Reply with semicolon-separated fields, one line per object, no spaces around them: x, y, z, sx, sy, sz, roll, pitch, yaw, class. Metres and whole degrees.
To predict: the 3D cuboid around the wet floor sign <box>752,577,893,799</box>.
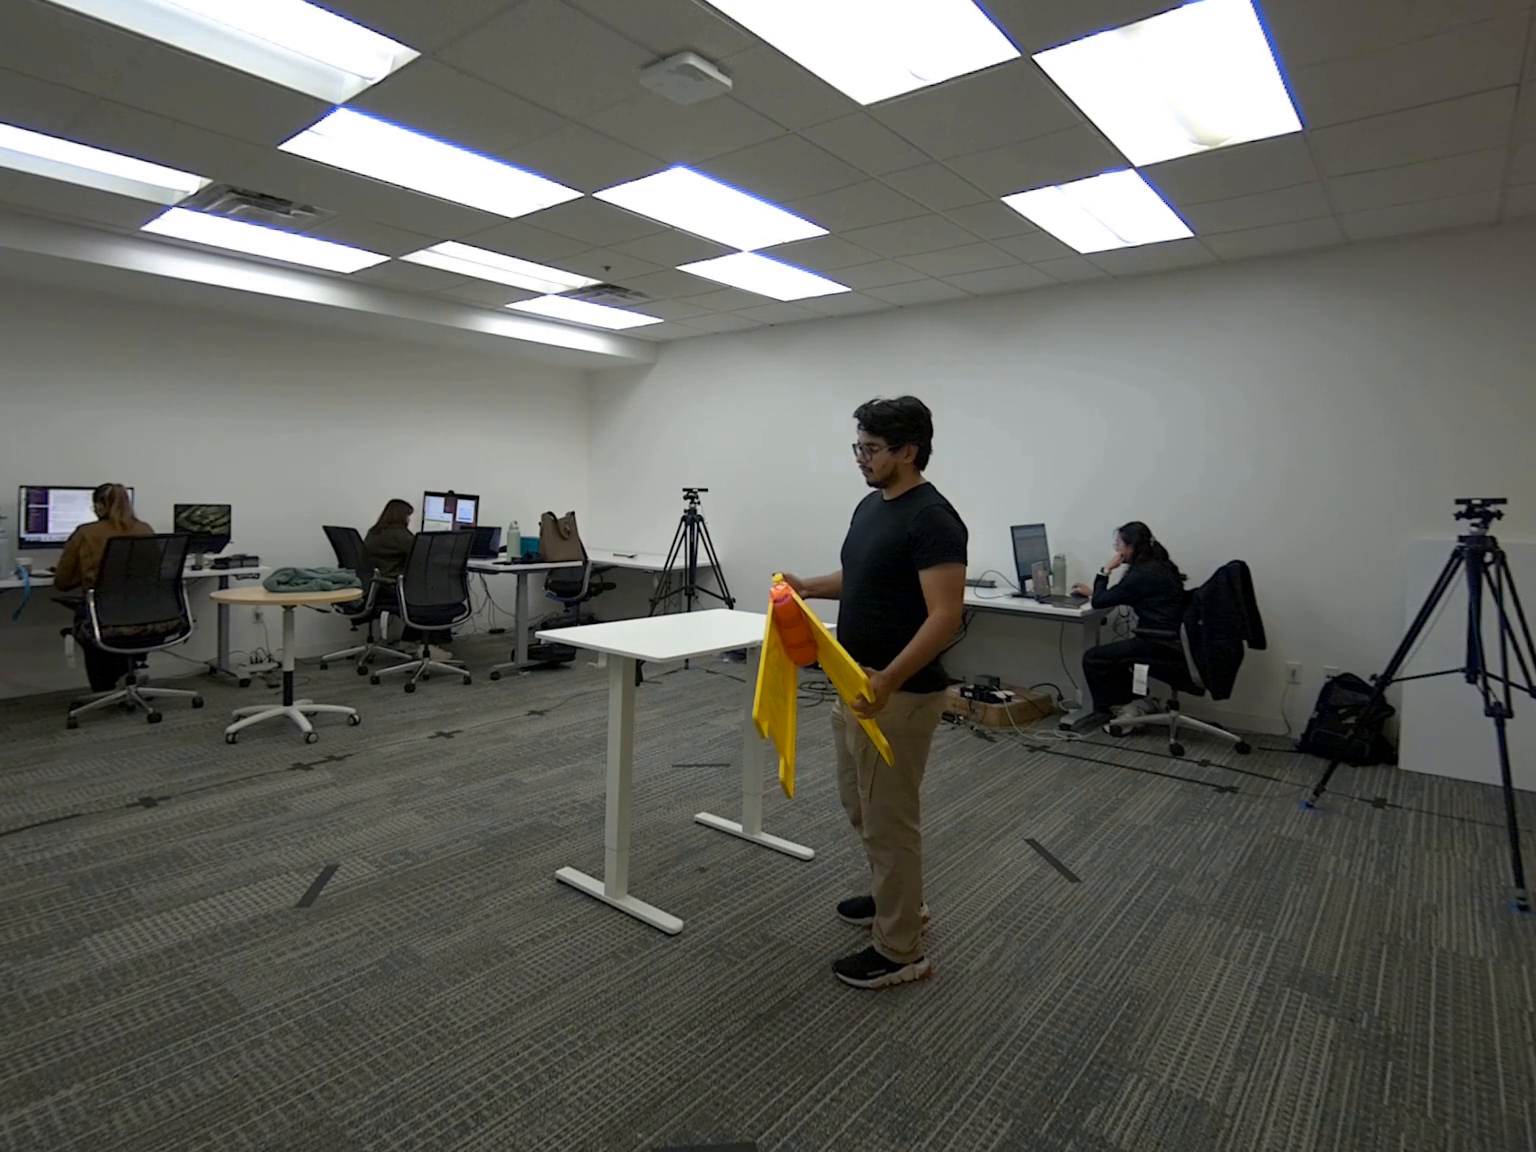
0.086;0.230;2.285;0.290;0.273;0.665;-19;29;2;wet floor sign
